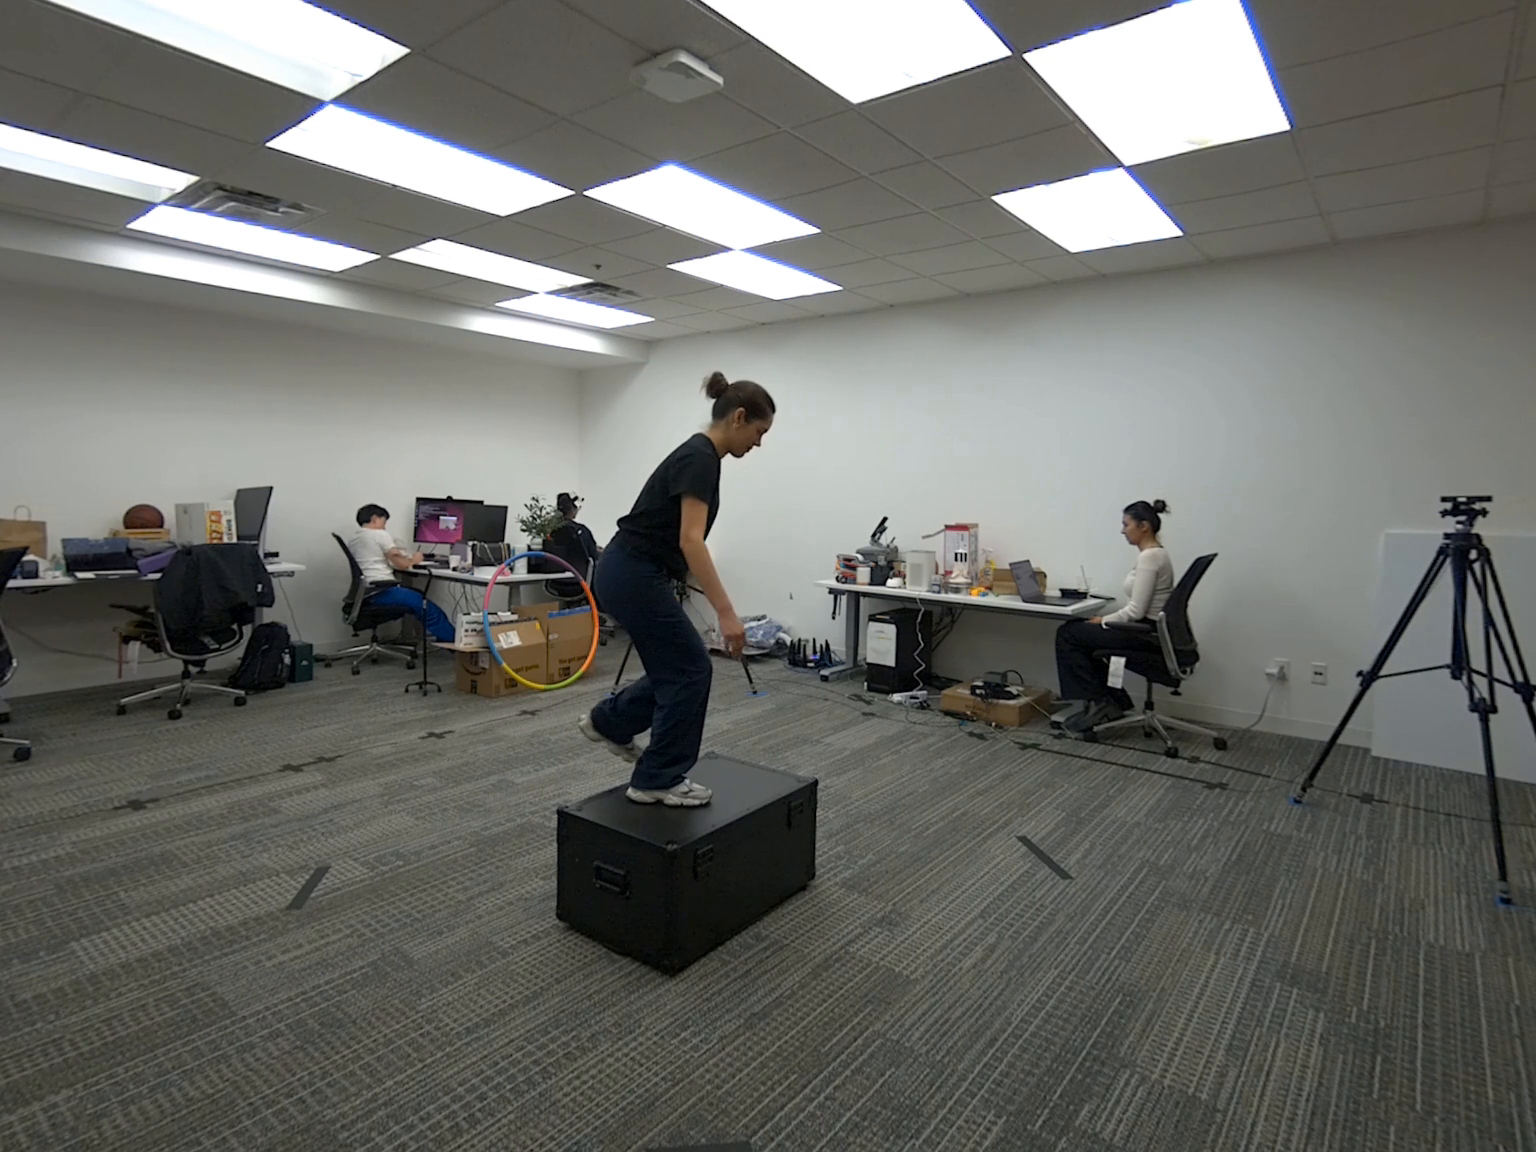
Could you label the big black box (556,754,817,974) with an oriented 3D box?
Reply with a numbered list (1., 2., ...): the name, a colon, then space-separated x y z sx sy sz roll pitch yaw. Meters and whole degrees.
1. big black box: -0.215 0.901 2.867 0.538 0.394 0.837 4 7 36
